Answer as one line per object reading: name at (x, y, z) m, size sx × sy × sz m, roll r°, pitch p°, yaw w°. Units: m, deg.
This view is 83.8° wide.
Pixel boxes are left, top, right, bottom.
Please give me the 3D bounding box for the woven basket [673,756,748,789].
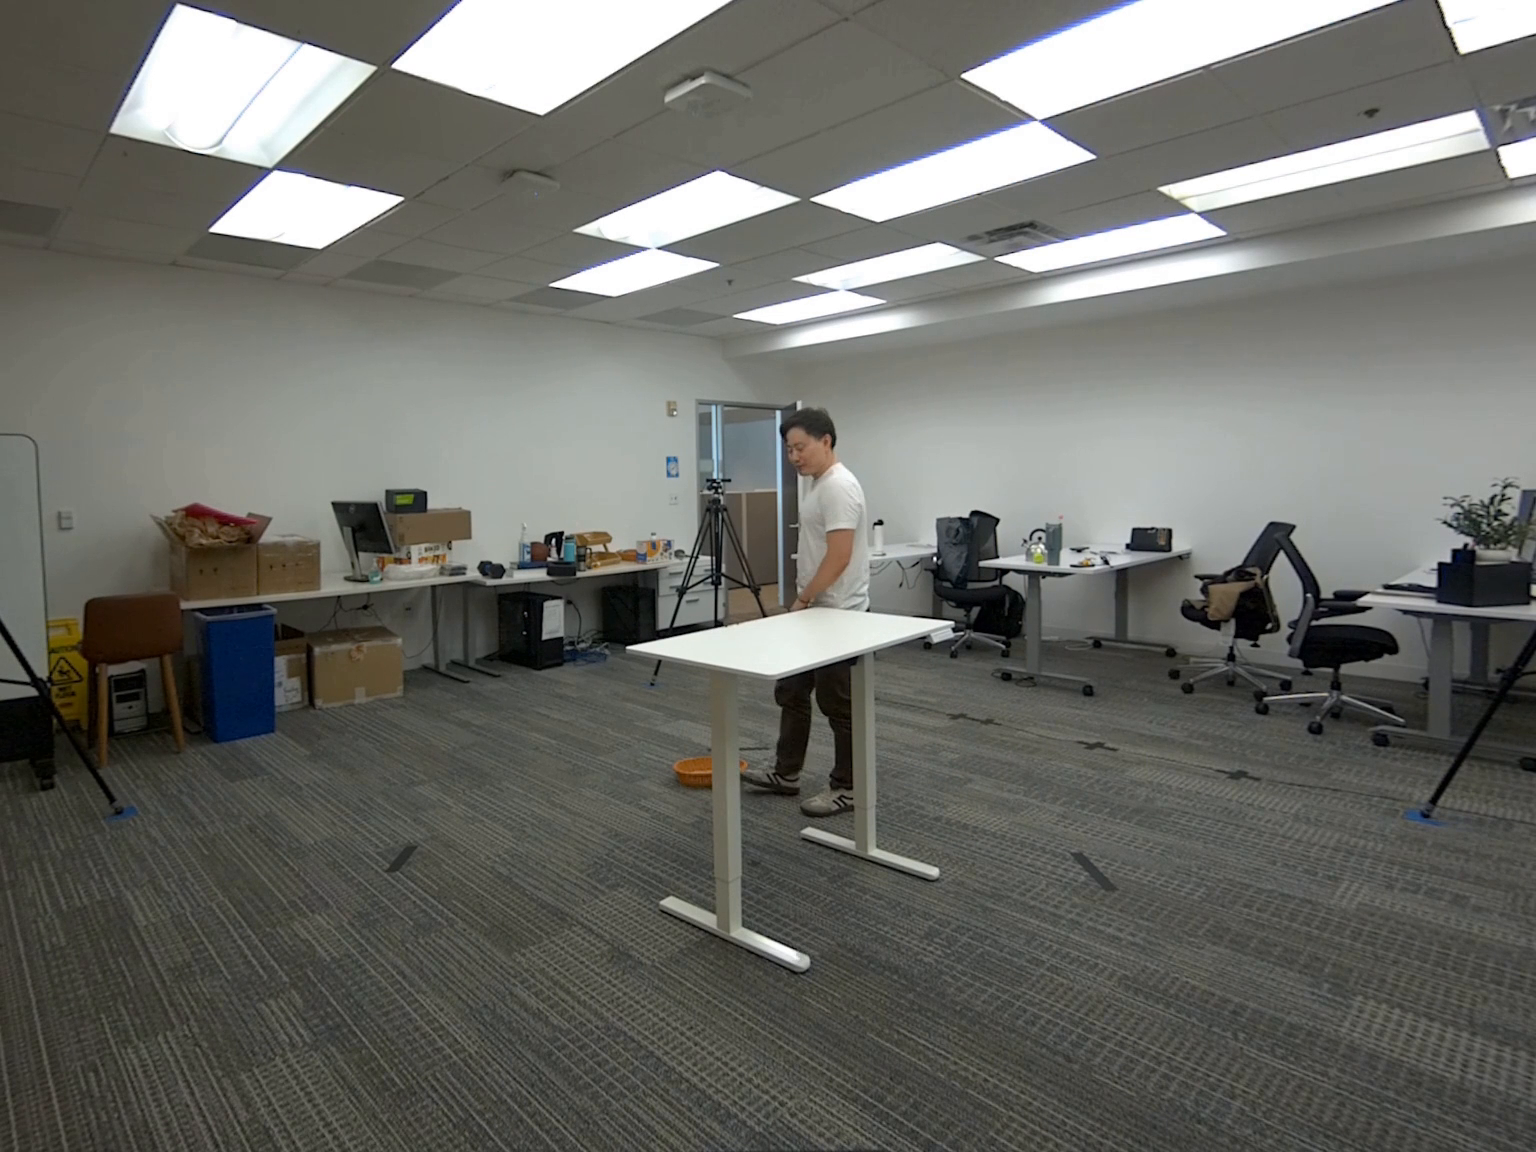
woven basket at (-0.271, 0.913, 3.986) m, size 0.351 × 0.073 × 0.253 m, roll -2°, pitch 5°, yaw 0°
